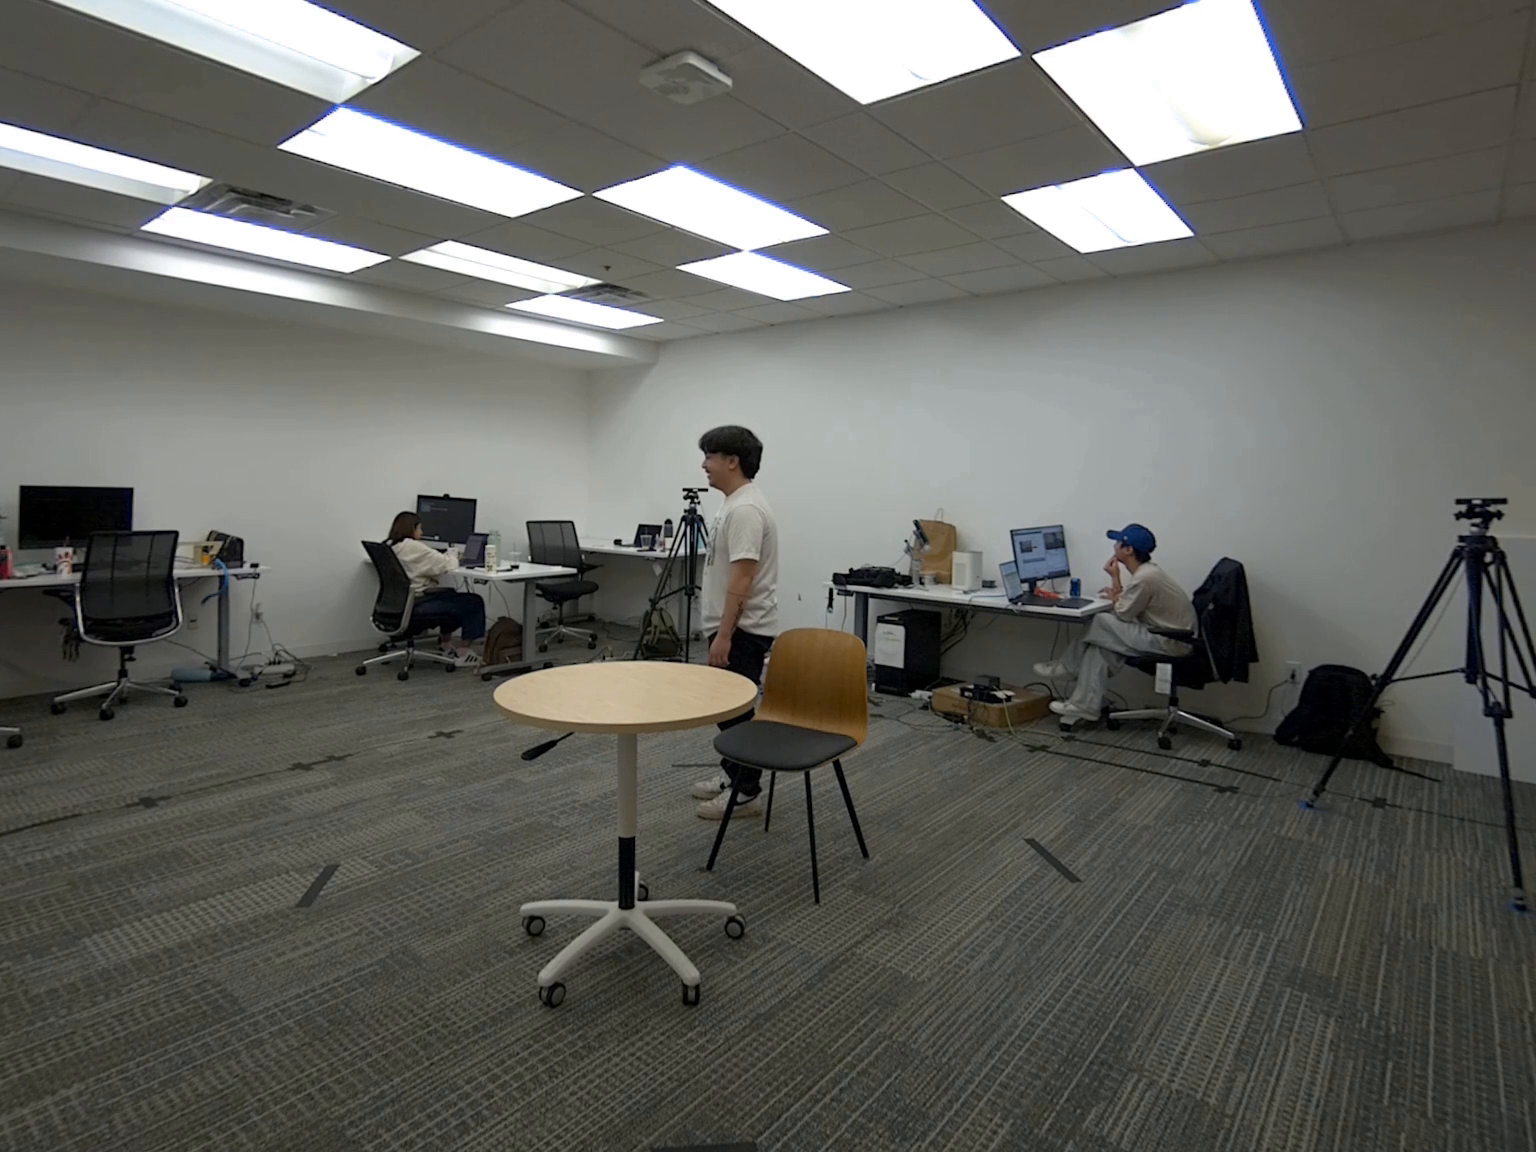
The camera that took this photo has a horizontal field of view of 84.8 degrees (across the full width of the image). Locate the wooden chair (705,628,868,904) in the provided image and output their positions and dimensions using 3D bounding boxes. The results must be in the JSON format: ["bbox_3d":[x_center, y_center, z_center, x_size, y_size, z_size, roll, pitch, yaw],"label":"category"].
[{"bbox_3d":[0.079,0.643,3.141,0.492,0.878,0.507,4,0,31],"label":"wooden chair"}]
